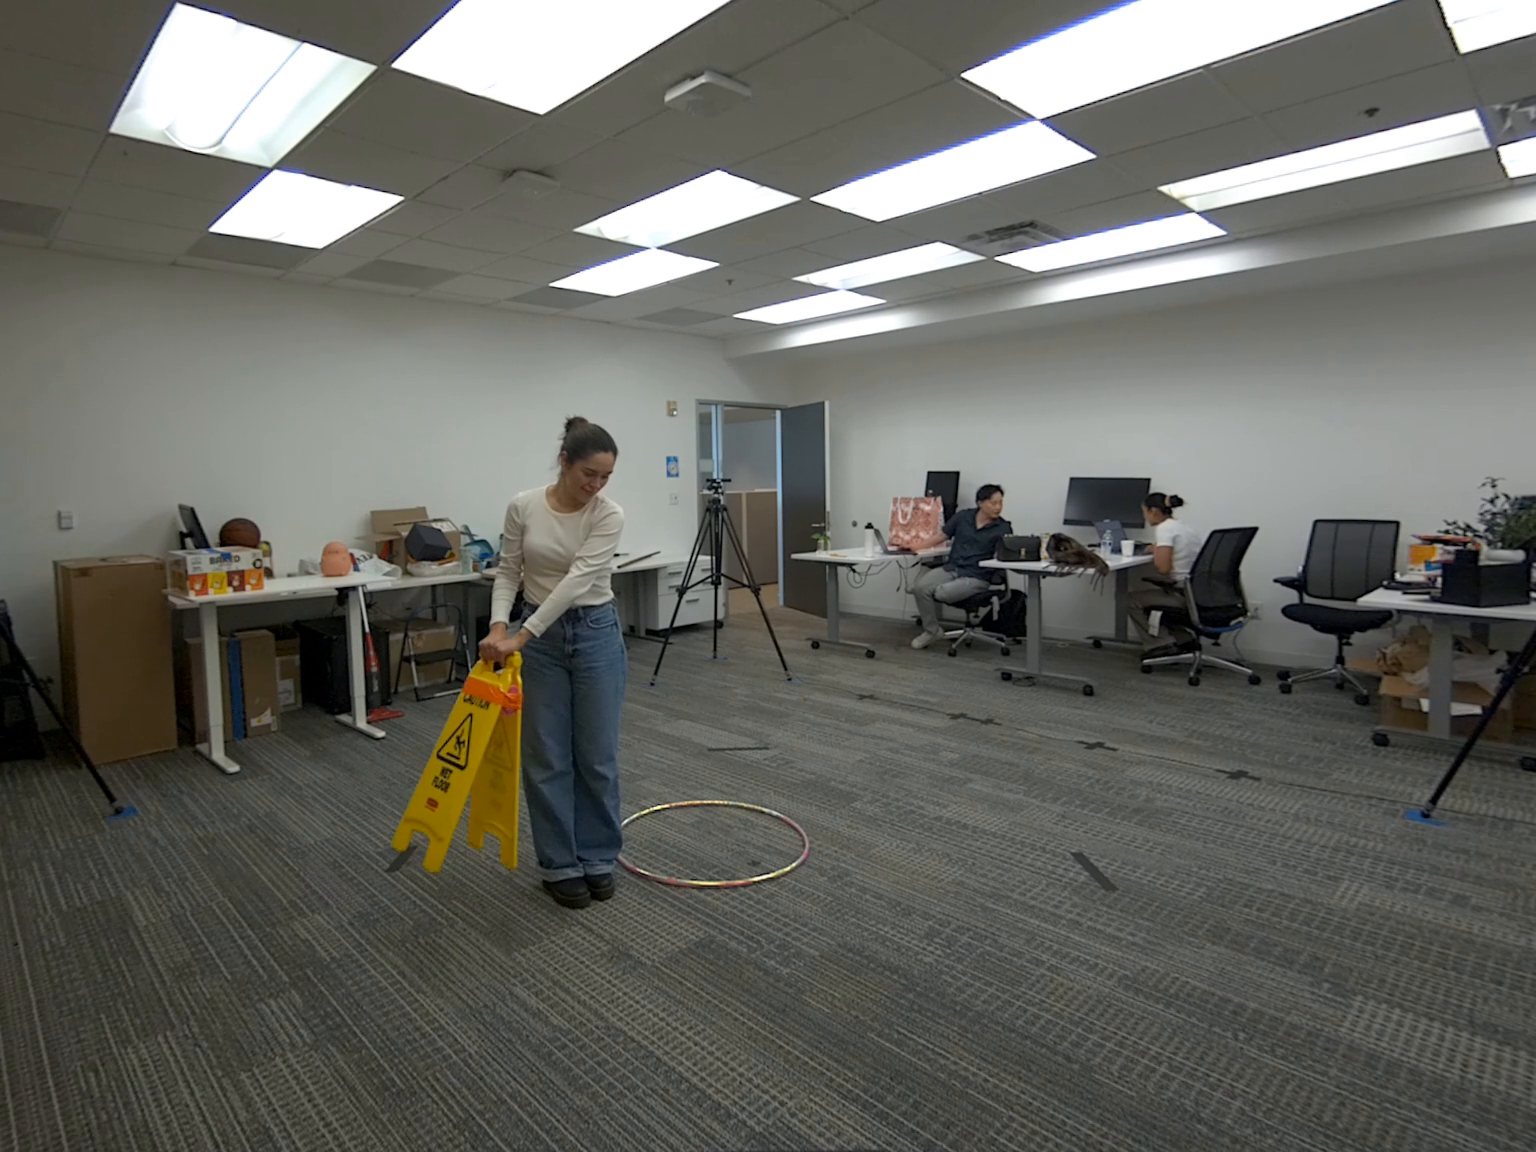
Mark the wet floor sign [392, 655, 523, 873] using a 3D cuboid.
[{"bbox_3d":[-0.888,0.549,2.639,0.291,0.650,0.279,3,-11,42],"label":"wet floor sign"}]
